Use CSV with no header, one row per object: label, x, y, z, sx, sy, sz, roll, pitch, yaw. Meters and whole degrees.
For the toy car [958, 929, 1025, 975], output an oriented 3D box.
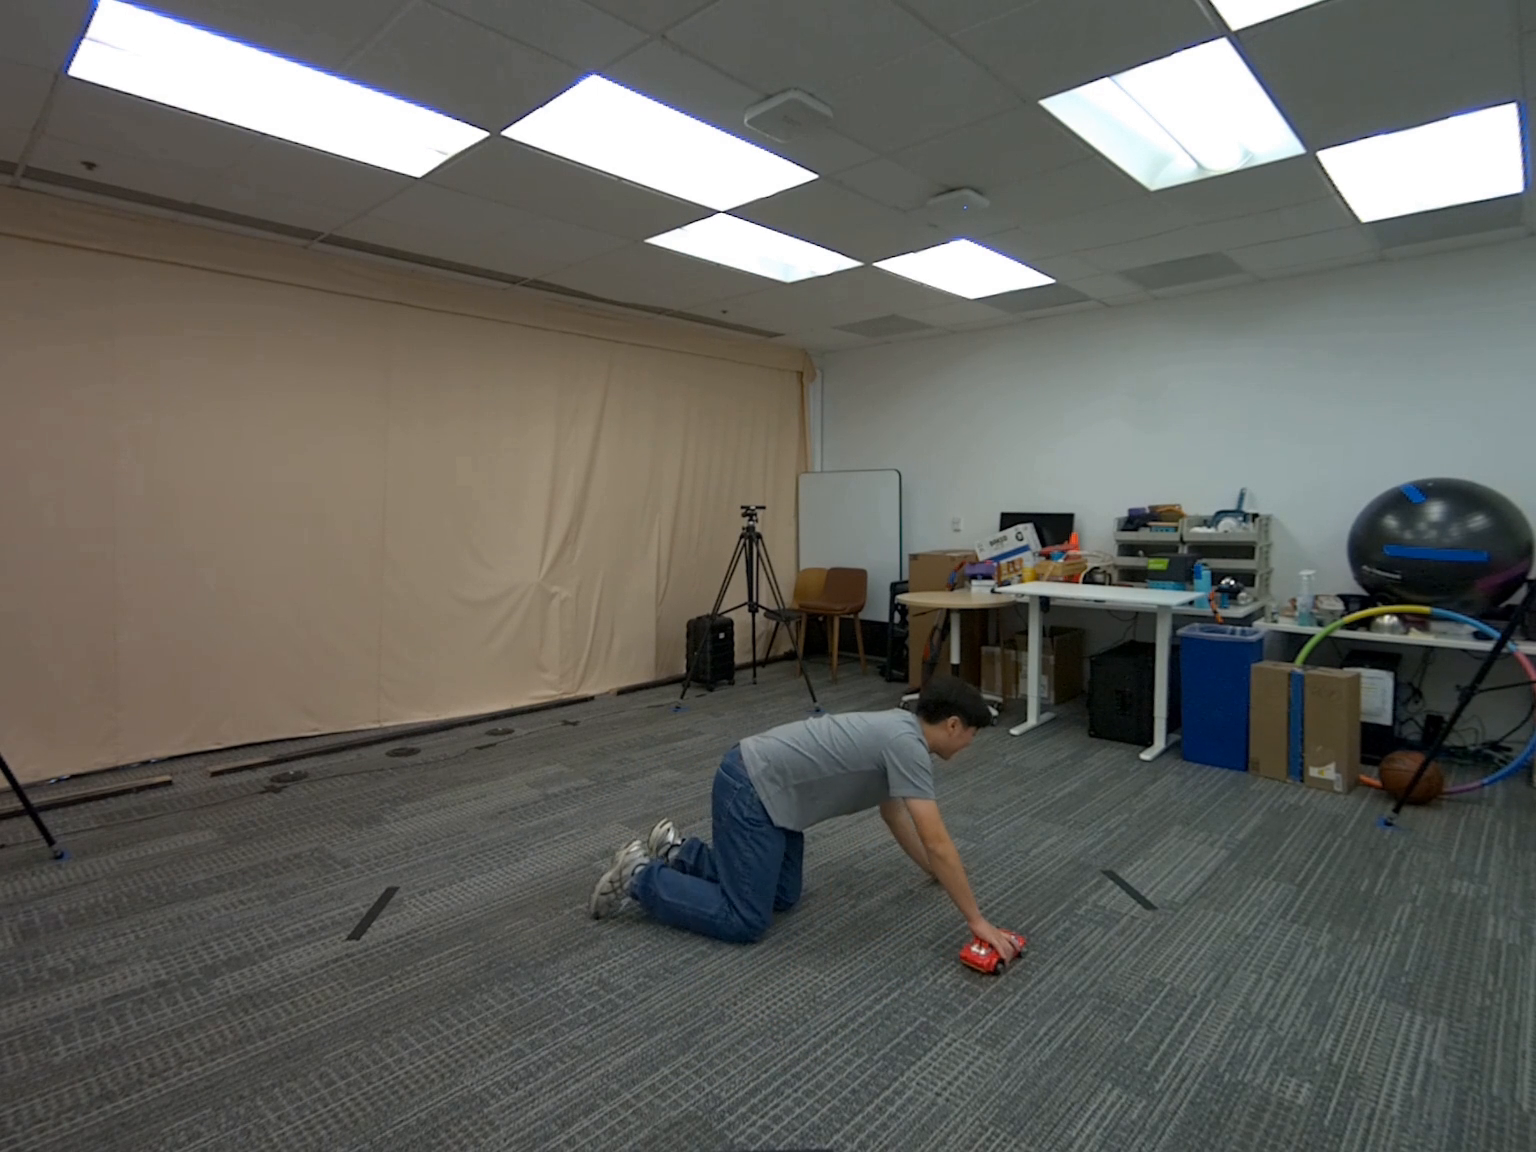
toy car,0.696,1.148,2.564,0.246,0.083,0.134,9,-3,-41
